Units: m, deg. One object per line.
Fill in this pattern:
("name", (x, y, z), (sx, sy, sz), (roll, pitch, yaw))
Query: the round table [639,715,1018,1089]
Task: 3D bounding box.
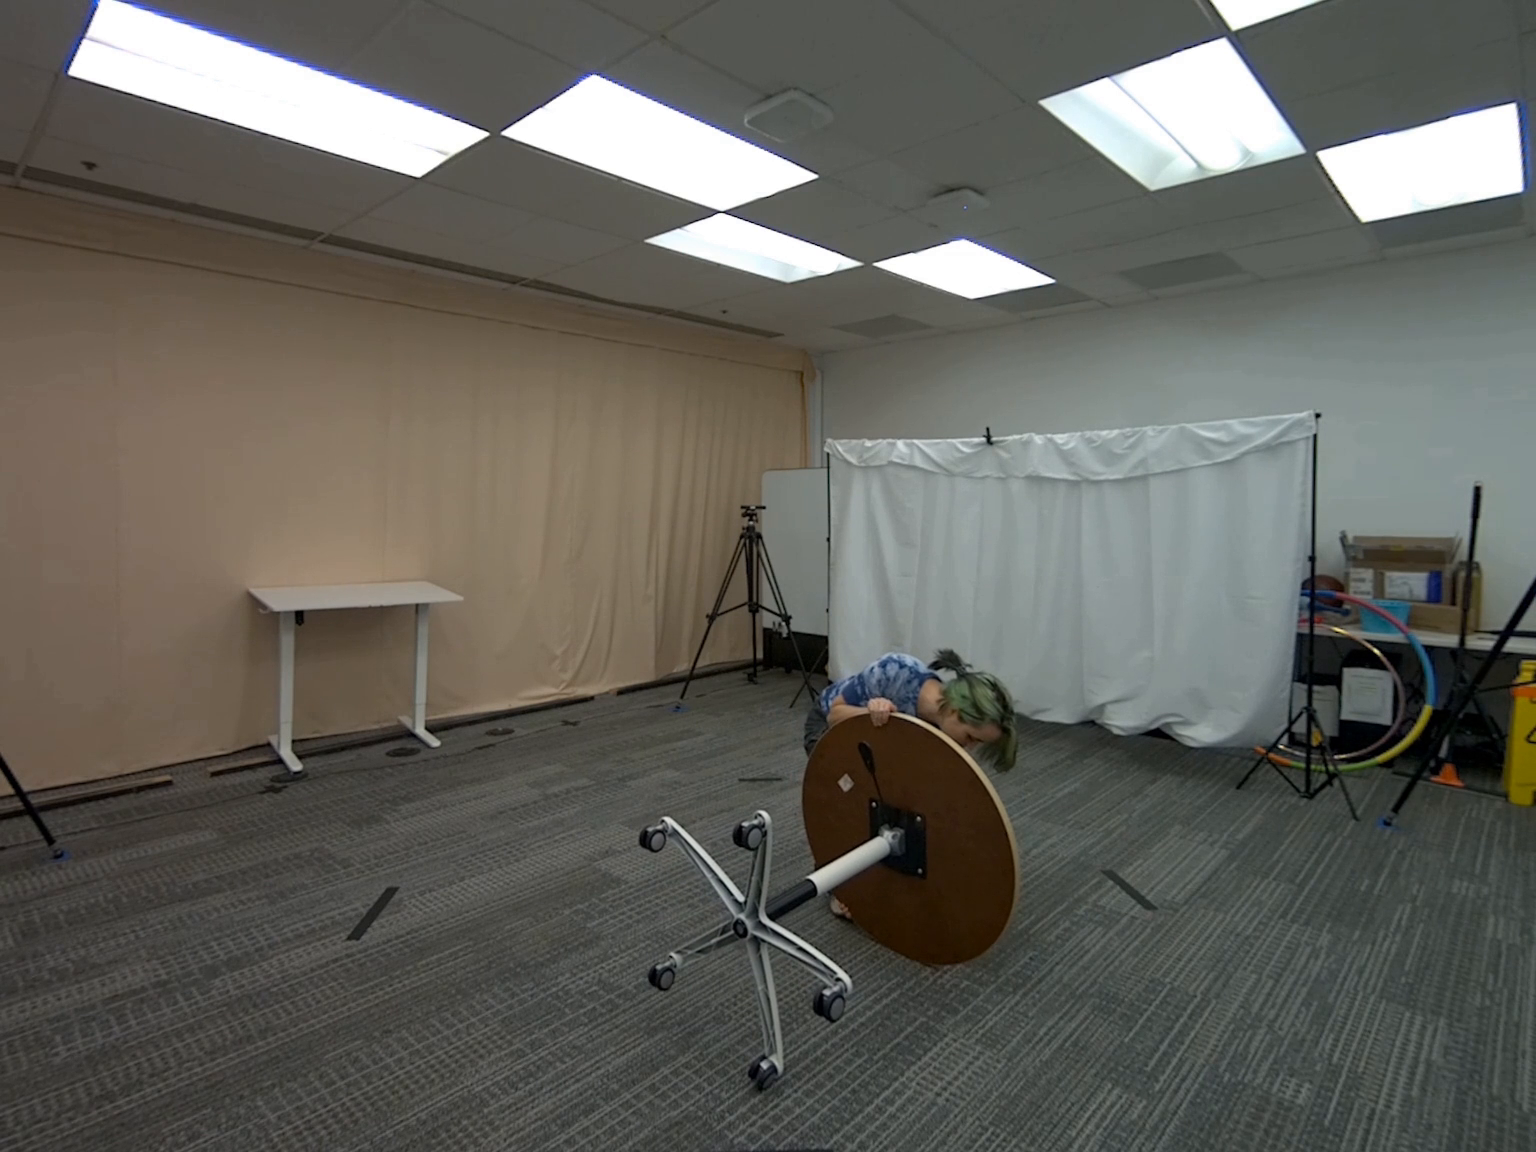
("round table", (0.147, 0.846, 2.314), (0.789, 0.760, 0.771), (4, 10, 45))
